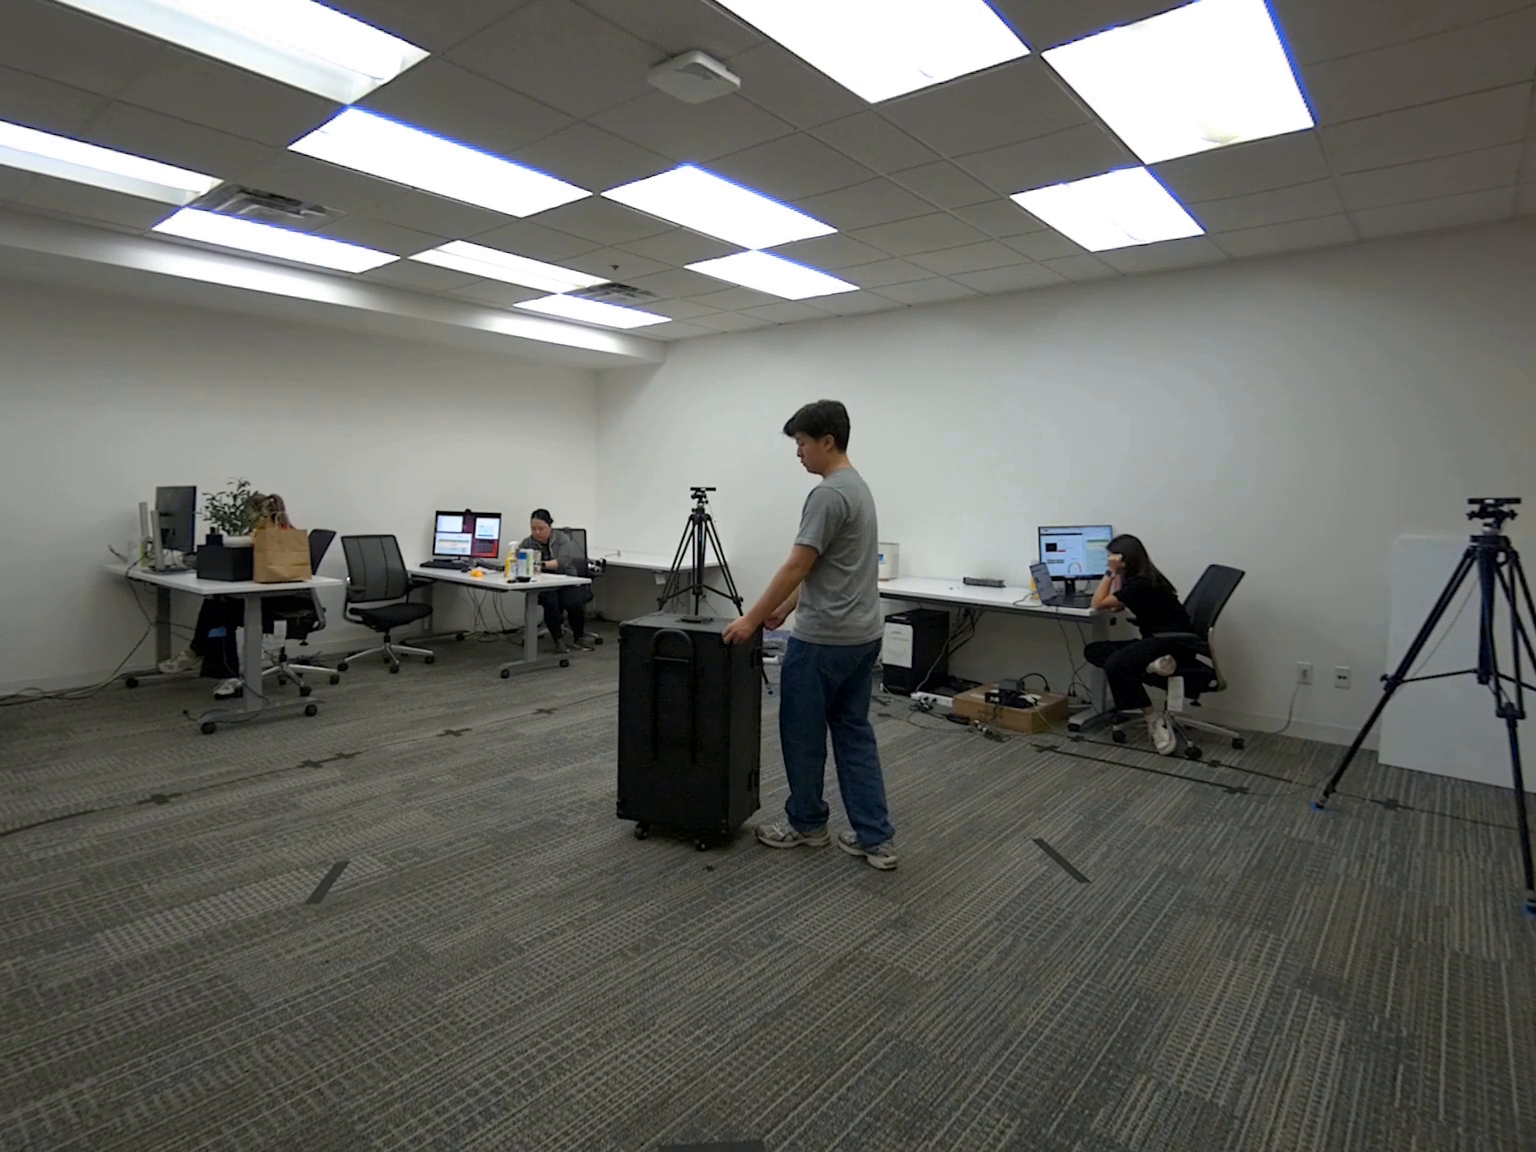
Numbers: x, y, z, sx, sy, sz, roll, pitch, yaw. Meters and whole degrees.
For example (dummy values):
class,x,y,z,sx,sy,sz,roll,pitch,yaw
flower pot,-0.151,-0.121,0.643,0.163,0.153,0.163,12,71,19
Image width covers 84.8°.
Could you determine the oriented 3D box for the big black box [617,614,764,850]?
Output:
class,x,y,z,sx,sy,sz,roll,pitch,yaw
big black box,-0.321,0.614,3.425,0.534,0.859,0.388,3,4,22
